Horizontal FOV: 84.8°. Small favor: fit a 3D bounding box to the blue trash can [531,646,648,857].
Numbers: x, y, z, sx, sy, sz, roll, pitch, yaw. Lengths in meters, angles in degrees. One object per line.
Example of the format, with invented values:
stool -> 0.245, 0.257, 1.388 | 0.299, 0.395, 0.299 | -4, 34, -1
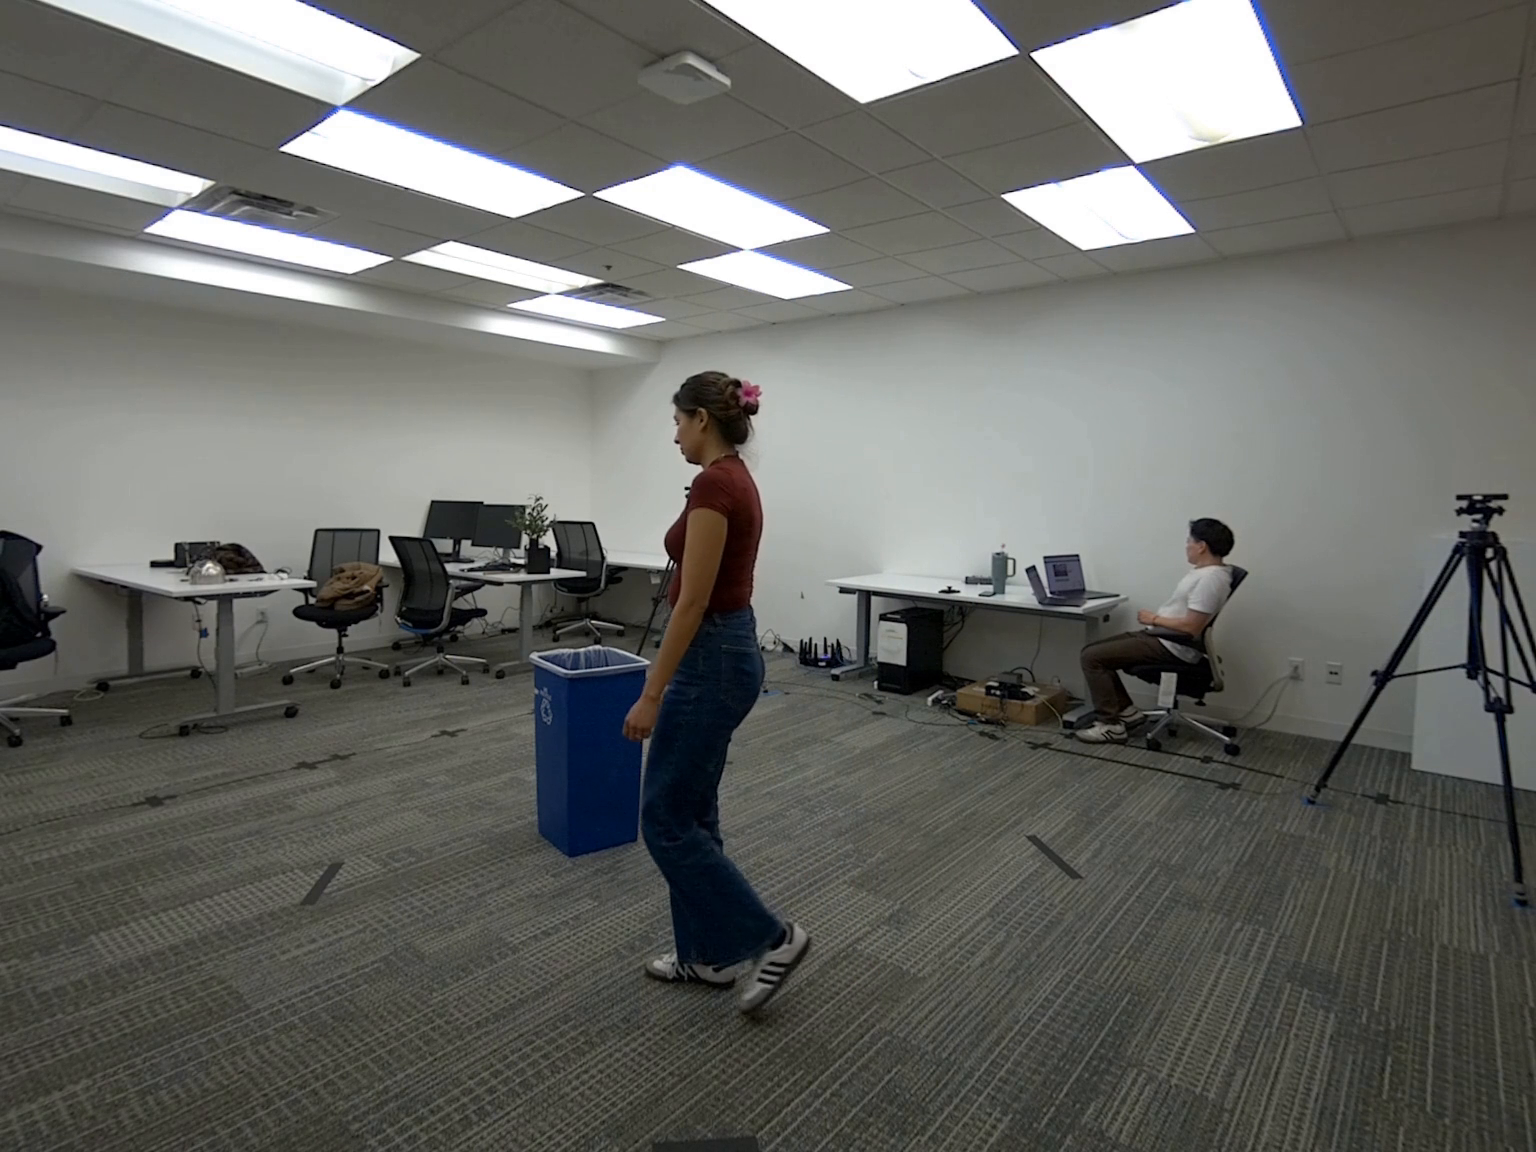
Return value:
blue trash can -> -0.718, 0.675, 3.360 | 0.367, 0.711, 0.386 | -2, 5, -38
